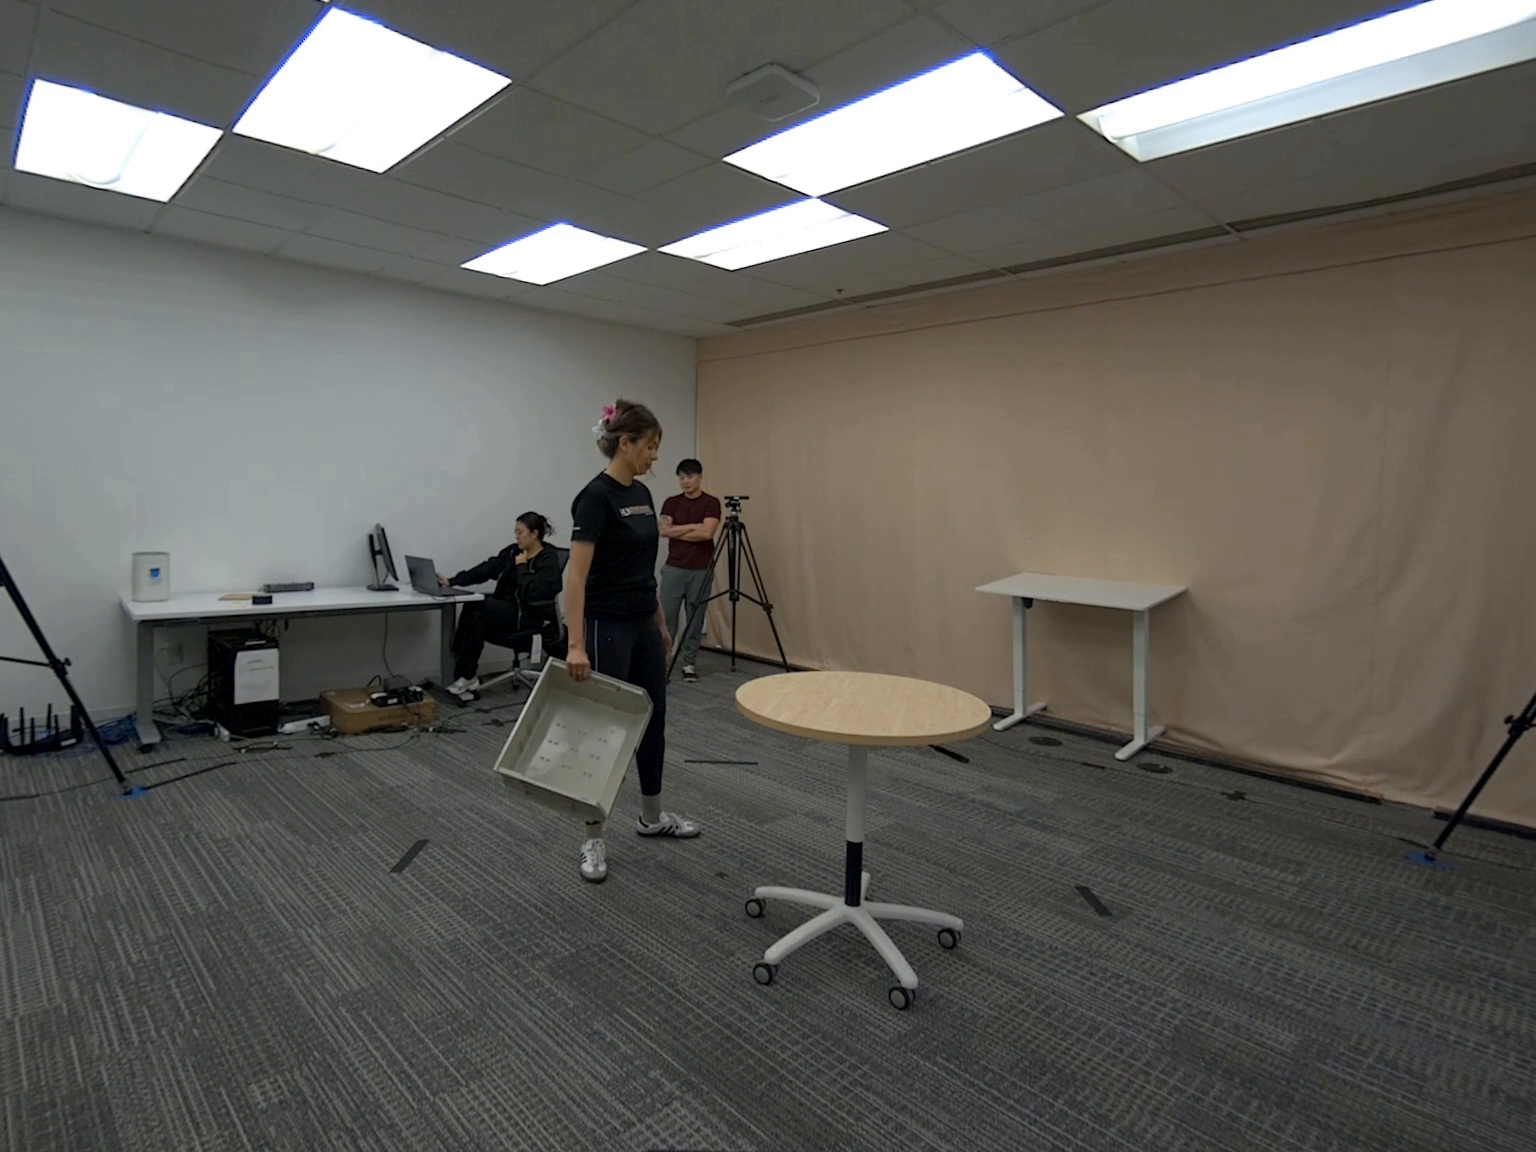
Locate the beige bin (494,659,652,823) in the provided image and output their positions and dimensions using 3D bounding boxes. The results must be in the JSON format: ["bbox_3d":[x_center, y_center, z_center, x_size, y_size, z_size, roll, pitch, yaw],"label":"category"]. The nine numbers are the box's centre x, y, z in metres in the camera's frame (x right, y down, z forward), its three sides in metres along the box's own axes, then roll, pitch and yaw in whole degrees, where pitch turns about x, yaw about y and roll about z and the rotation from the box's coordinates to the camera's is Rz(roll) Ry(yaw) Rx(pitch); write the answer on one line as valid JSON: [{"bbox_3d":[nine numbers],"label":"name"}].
[{"bbox_3d":[-0.632,0.544,2.770,0.380,0.427,0.185,15,-37,6],"label":"beige bin"}]
